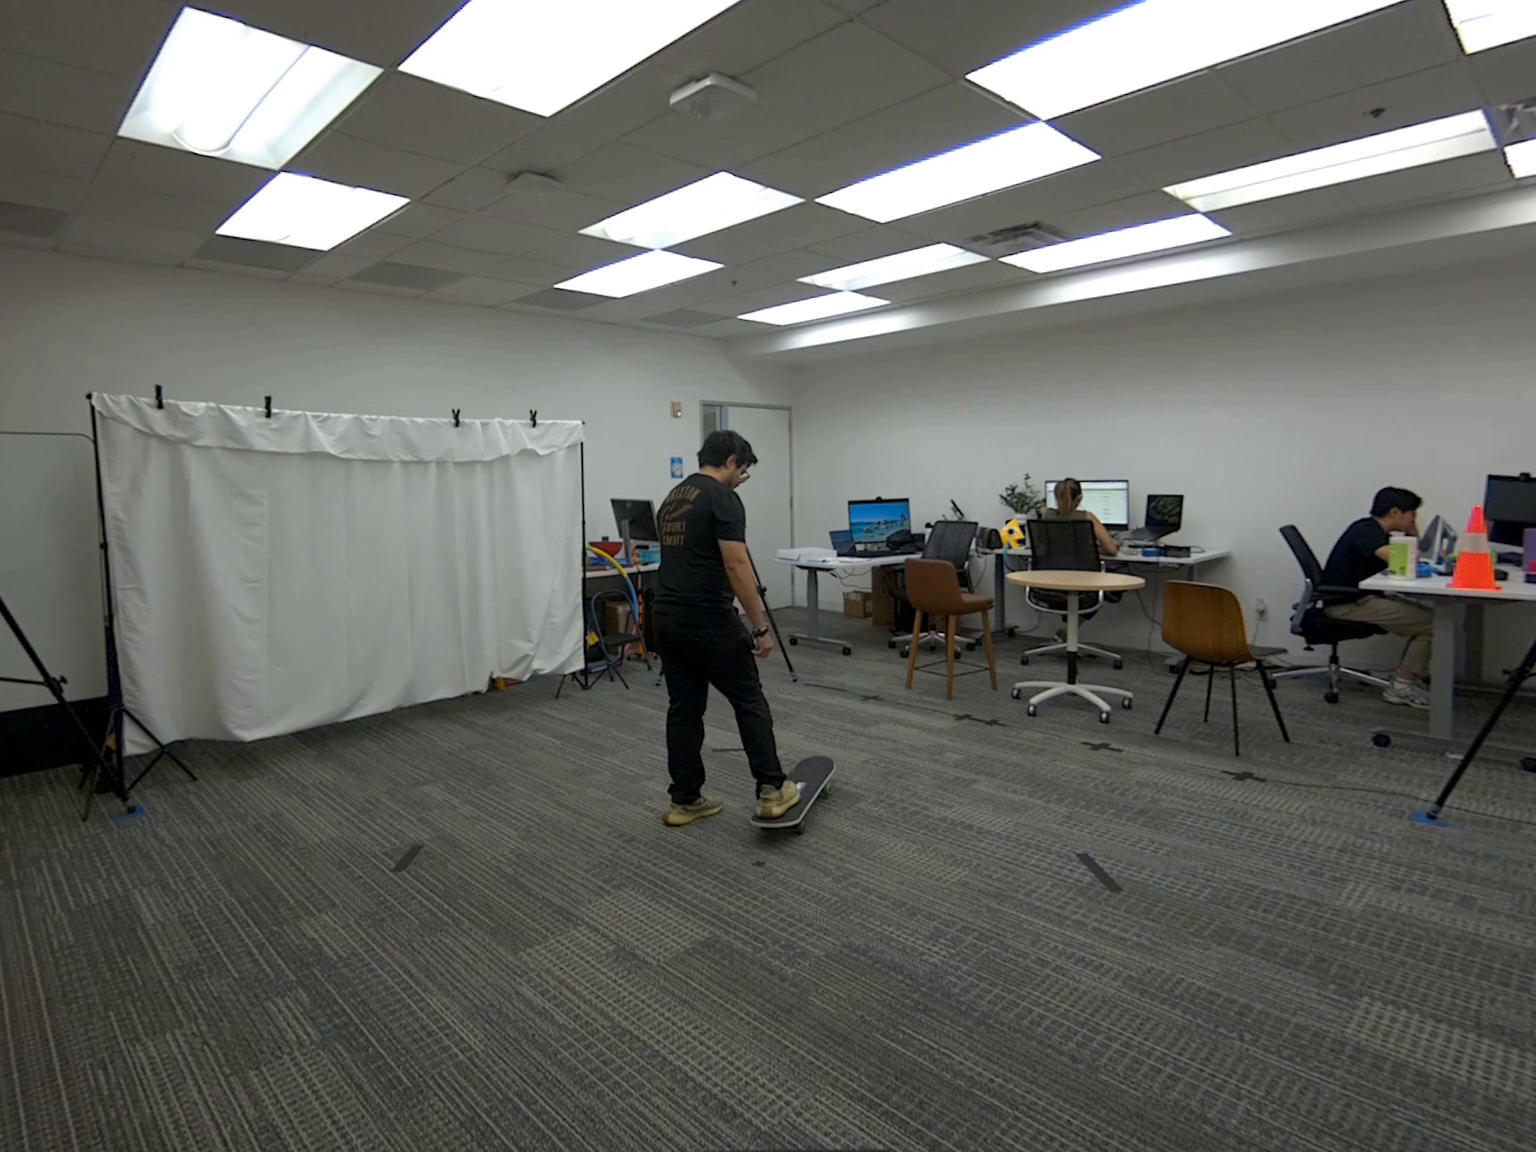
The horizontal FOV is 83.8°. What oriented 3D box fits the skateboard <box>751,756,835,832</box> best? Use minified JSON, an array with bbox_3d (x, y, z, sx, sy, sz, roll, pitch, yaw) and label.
[{"bbox_3d":[0.121,0.936,3.588,0.197,0.110,0.776,-4,7,18],"label":"skateboard"}]
